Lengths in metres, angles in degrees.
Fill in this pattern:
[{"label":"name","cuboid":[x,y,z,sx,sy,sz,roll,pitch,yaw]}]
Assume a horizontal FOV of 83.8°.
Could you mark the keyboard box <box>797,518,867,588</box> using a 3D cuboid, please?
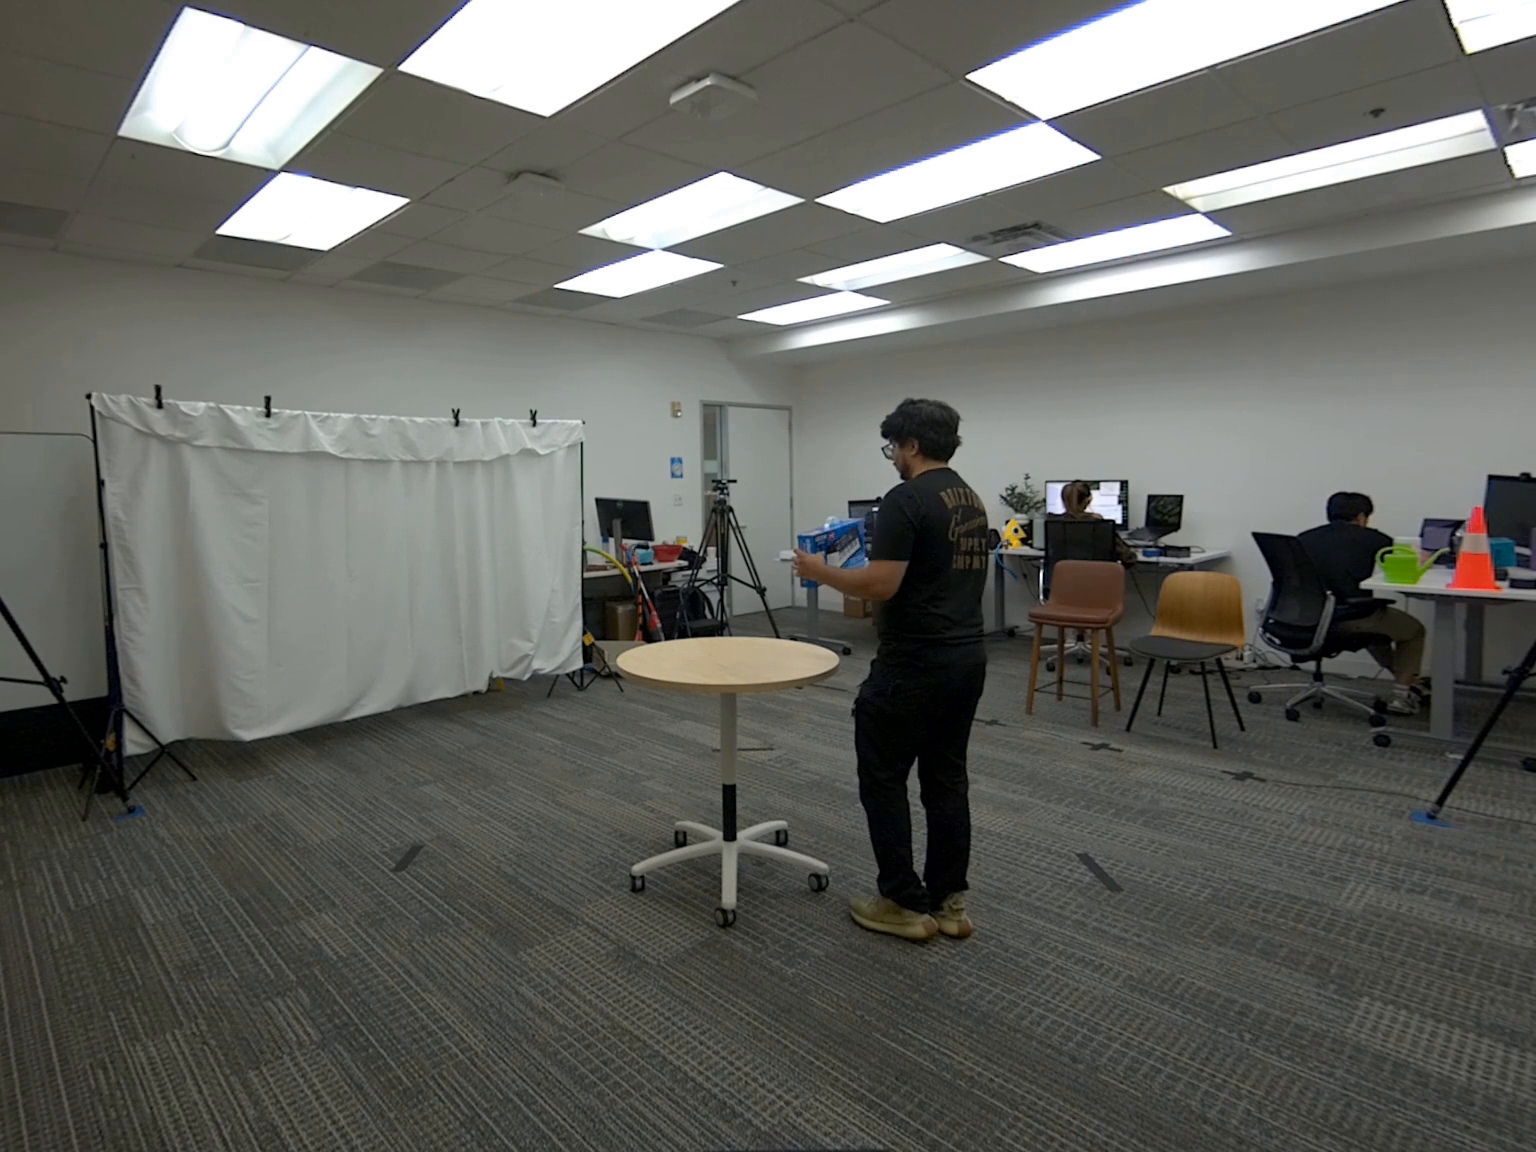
[{"label":"keyboard box","cuboid":[0.232,-0.081,2.923,0.060,0.174,0.429,0,10,28]}]
